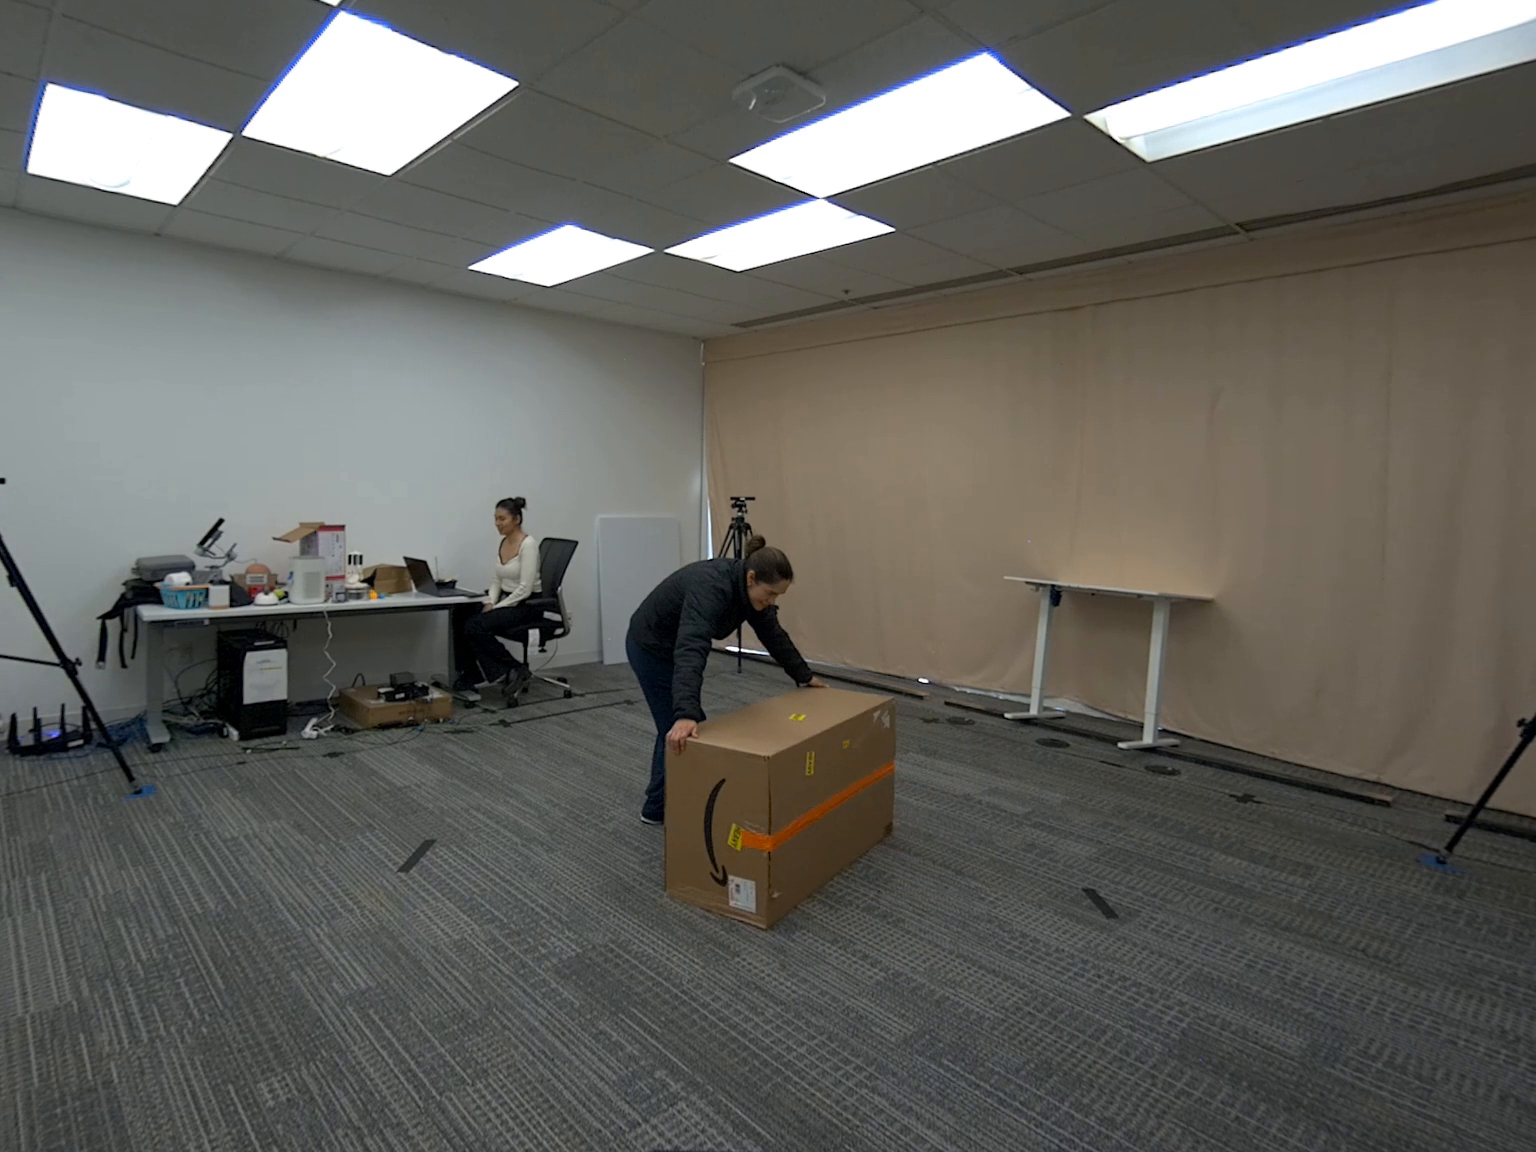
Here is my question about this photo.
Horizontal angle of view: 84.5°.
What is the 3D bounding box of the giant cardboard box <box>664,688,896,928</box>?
[{"bbox_3d":[0.084,0.815,3.218,0.457,0.582,1.007,4,6,31],"label":"giant cardboard box"}]
